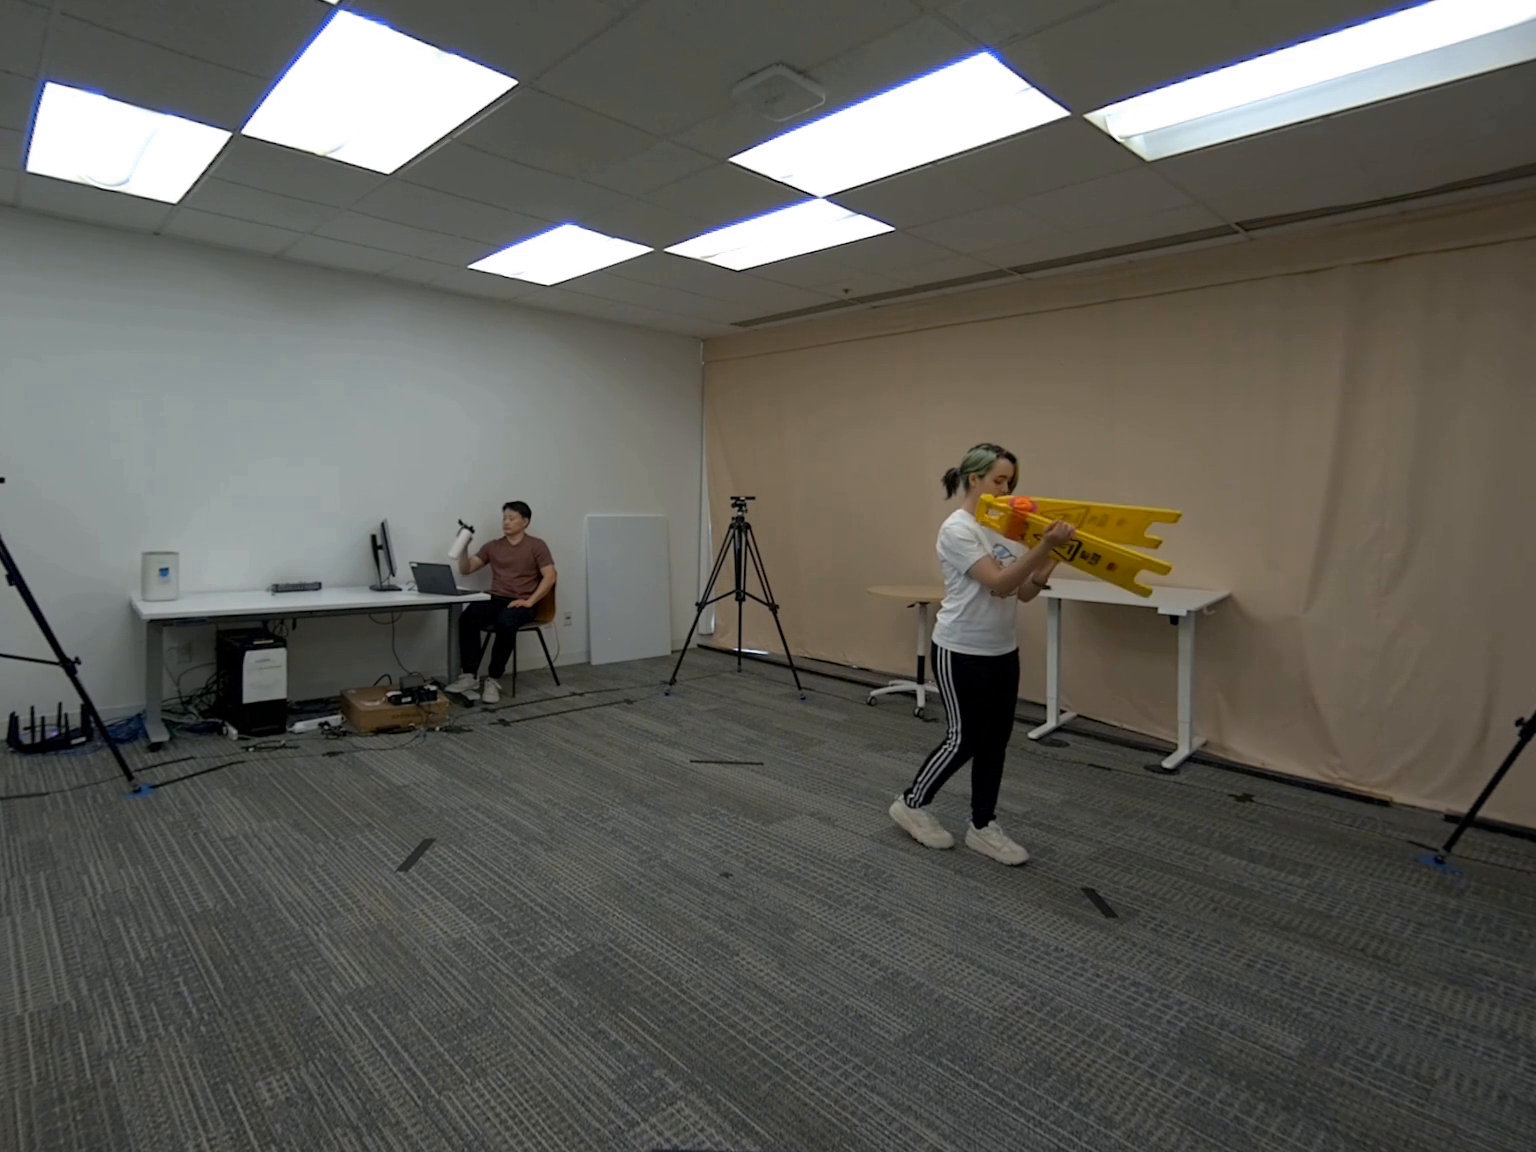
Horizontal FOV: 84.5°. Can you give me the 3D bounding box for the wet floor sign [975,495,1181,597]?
[{"bbox_3d":[1.066,-0.154,3.021,0.655,0.292,0.276,17,-22,14],"label":"wet floor sign"}]
